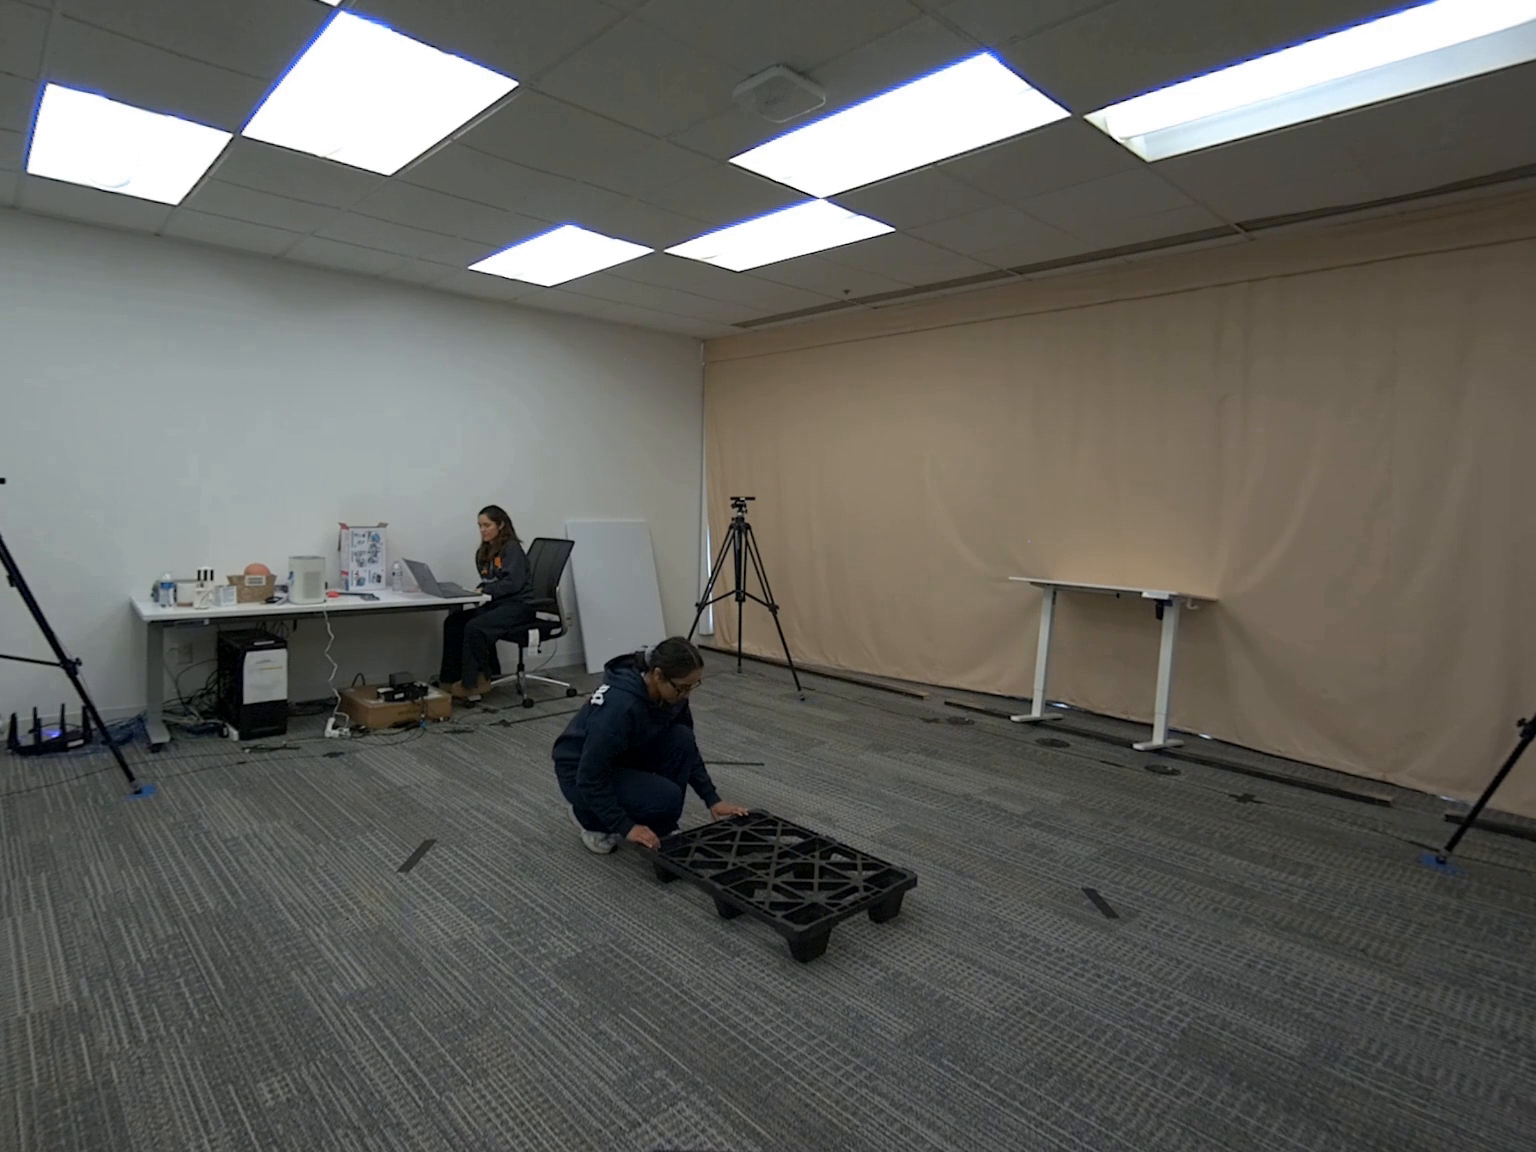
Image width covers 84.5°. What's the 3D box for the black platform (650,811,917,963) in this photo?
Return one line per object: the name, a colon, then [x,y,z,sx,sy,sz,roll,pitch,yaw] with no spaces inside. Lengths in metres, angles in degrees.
black platform: [0.017,1.059,2.952,0.591,0.143,0.826,-2,6,-43]
